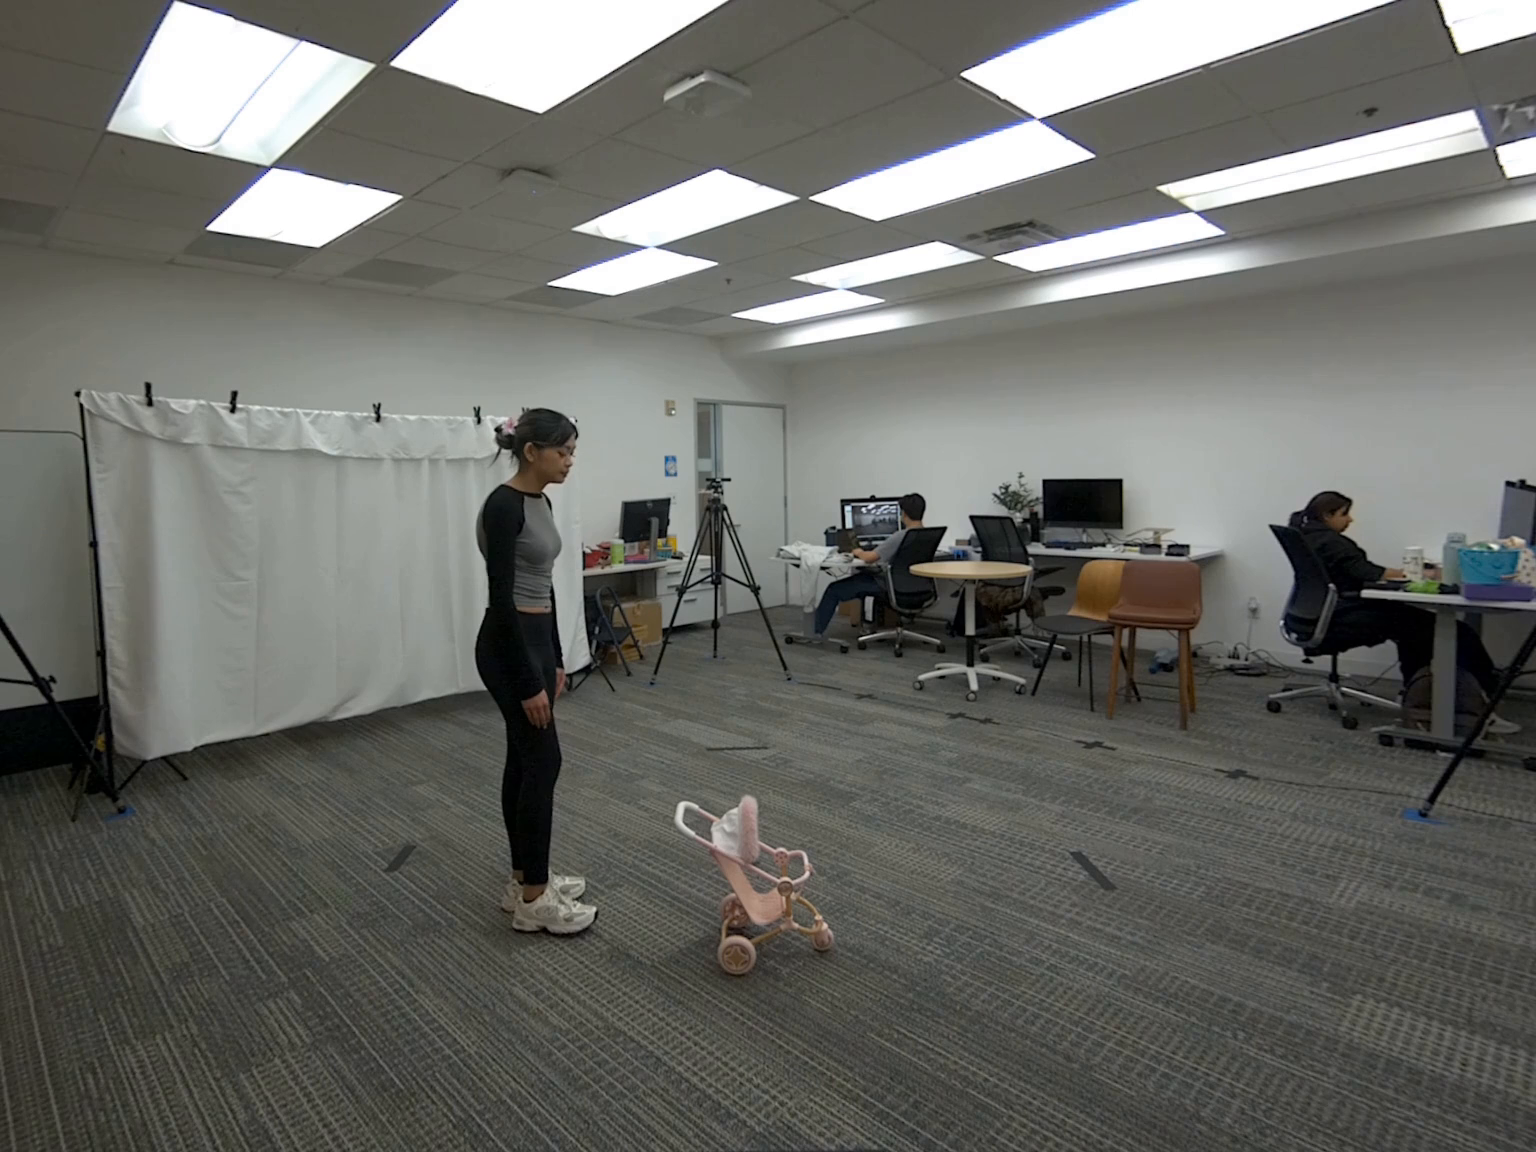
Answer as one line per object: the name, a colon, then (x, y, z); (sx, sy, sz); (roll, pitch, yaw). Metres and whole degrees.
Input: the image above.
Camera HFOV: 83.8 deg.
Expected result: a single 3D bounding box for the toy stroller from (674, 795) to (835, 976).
toy stroller: (-0.028, 0.891, 2.512); (0.343, 0.533, 0.281); (-17, 3, 6)
